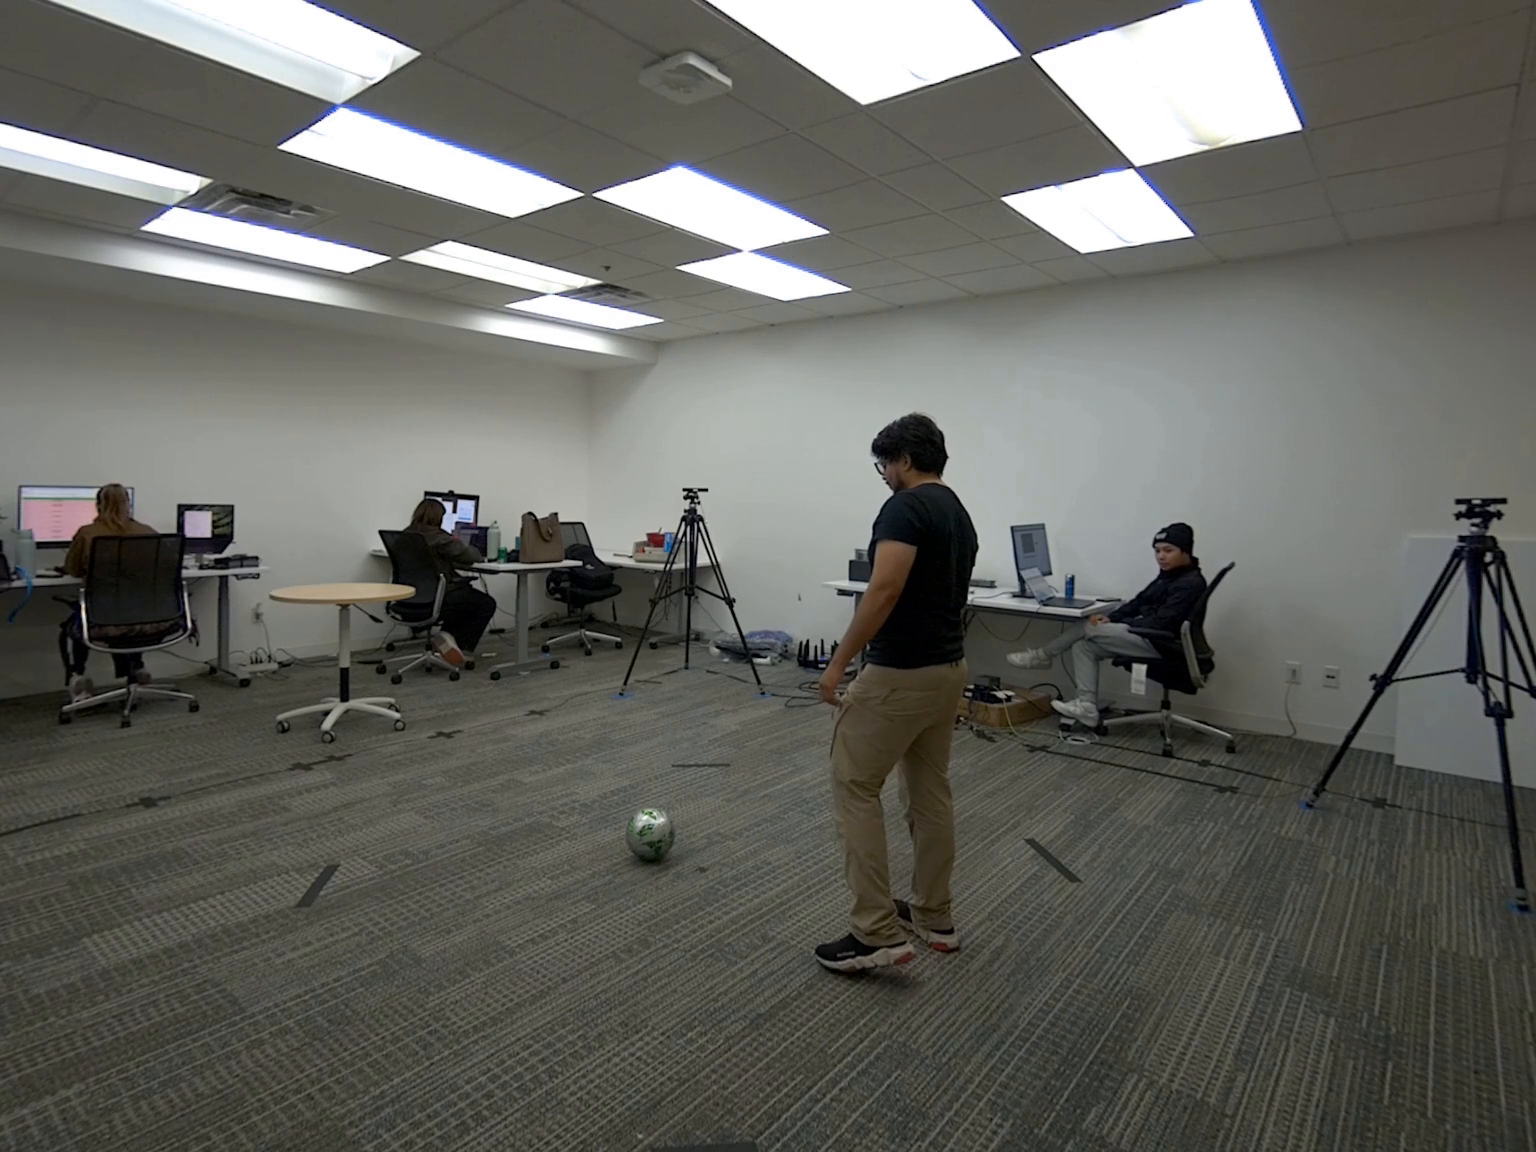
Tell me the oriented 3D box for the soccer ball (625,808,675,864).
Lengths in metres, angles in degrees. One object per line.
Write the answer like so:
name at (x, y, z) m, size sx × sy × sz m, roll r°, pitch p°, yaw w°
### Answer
soccer ball at (-0.452, 0.966, 3.195) m, size 0.187 × 0.187 × 0.188 m, roll 1°, pitch 4°, yaw -2°
